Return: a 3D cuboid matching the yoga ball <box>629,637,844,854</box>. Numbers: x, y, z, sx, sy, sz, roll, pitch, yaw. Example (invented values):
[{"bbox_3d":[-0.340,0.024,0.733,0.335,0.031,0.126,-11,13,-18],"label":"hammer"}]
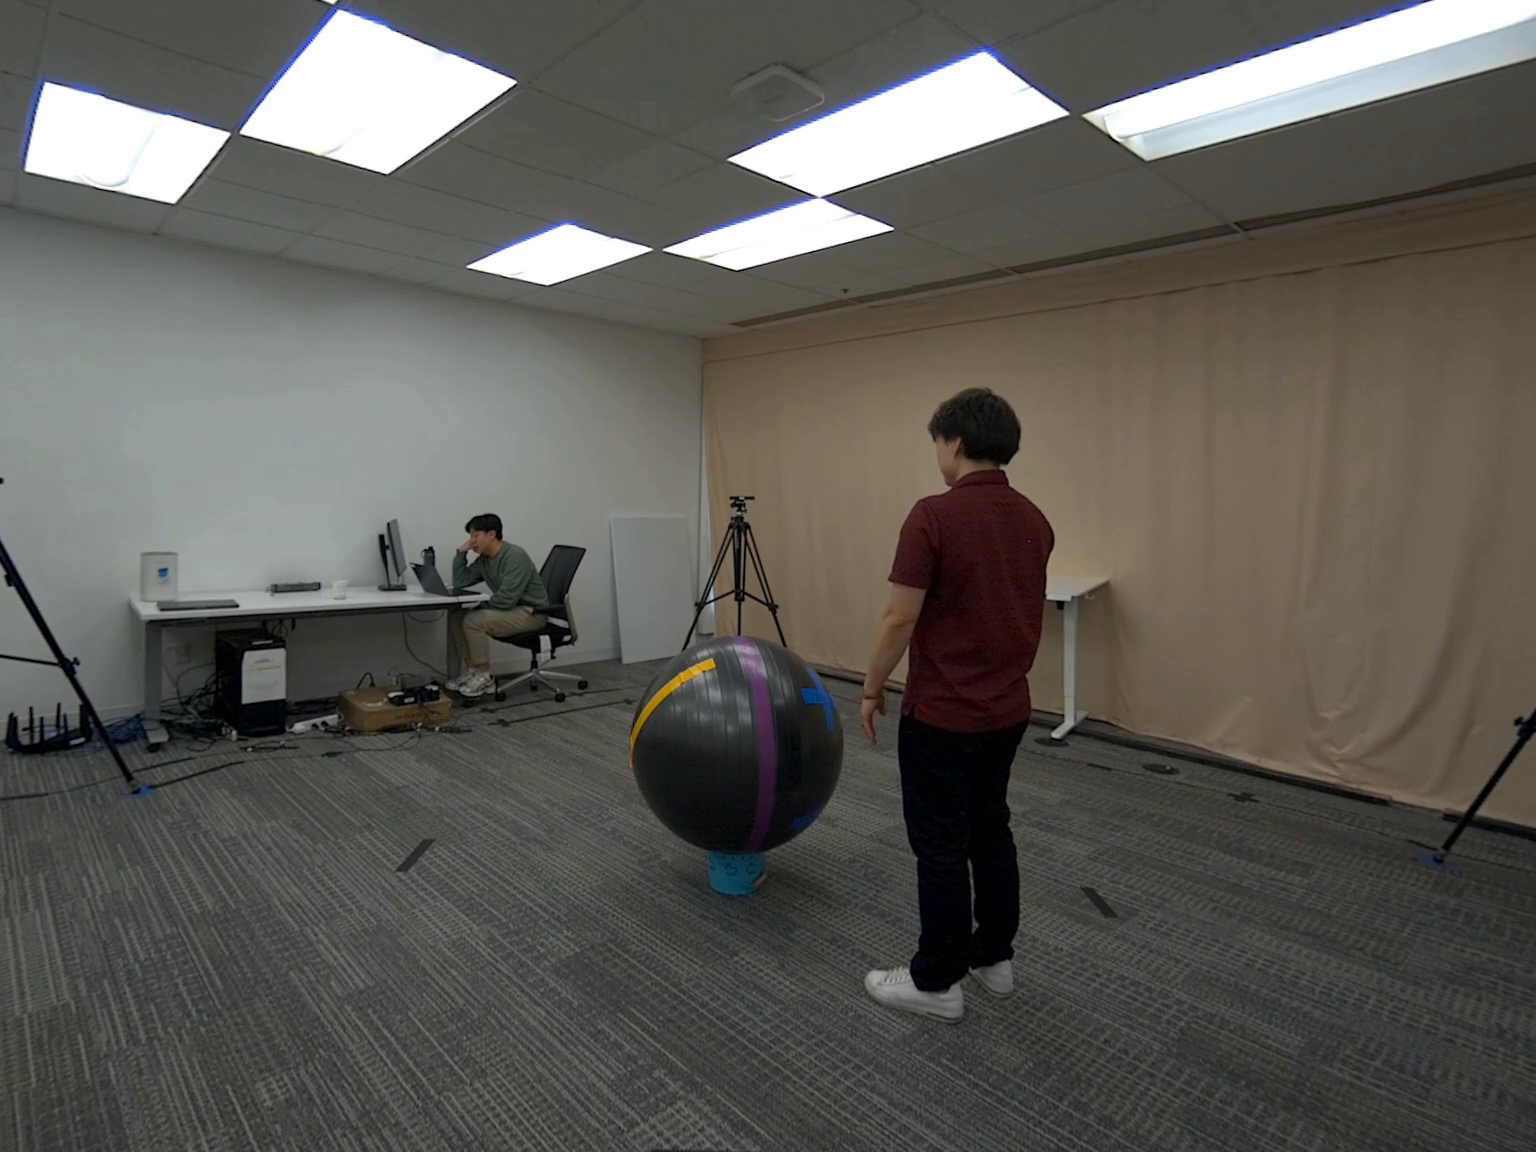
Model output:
[{"bbox_3d":[-0.117,0.600,3.017,0.757,0.756,0.761,1,4,-1],"label":"yoga ball"}]
